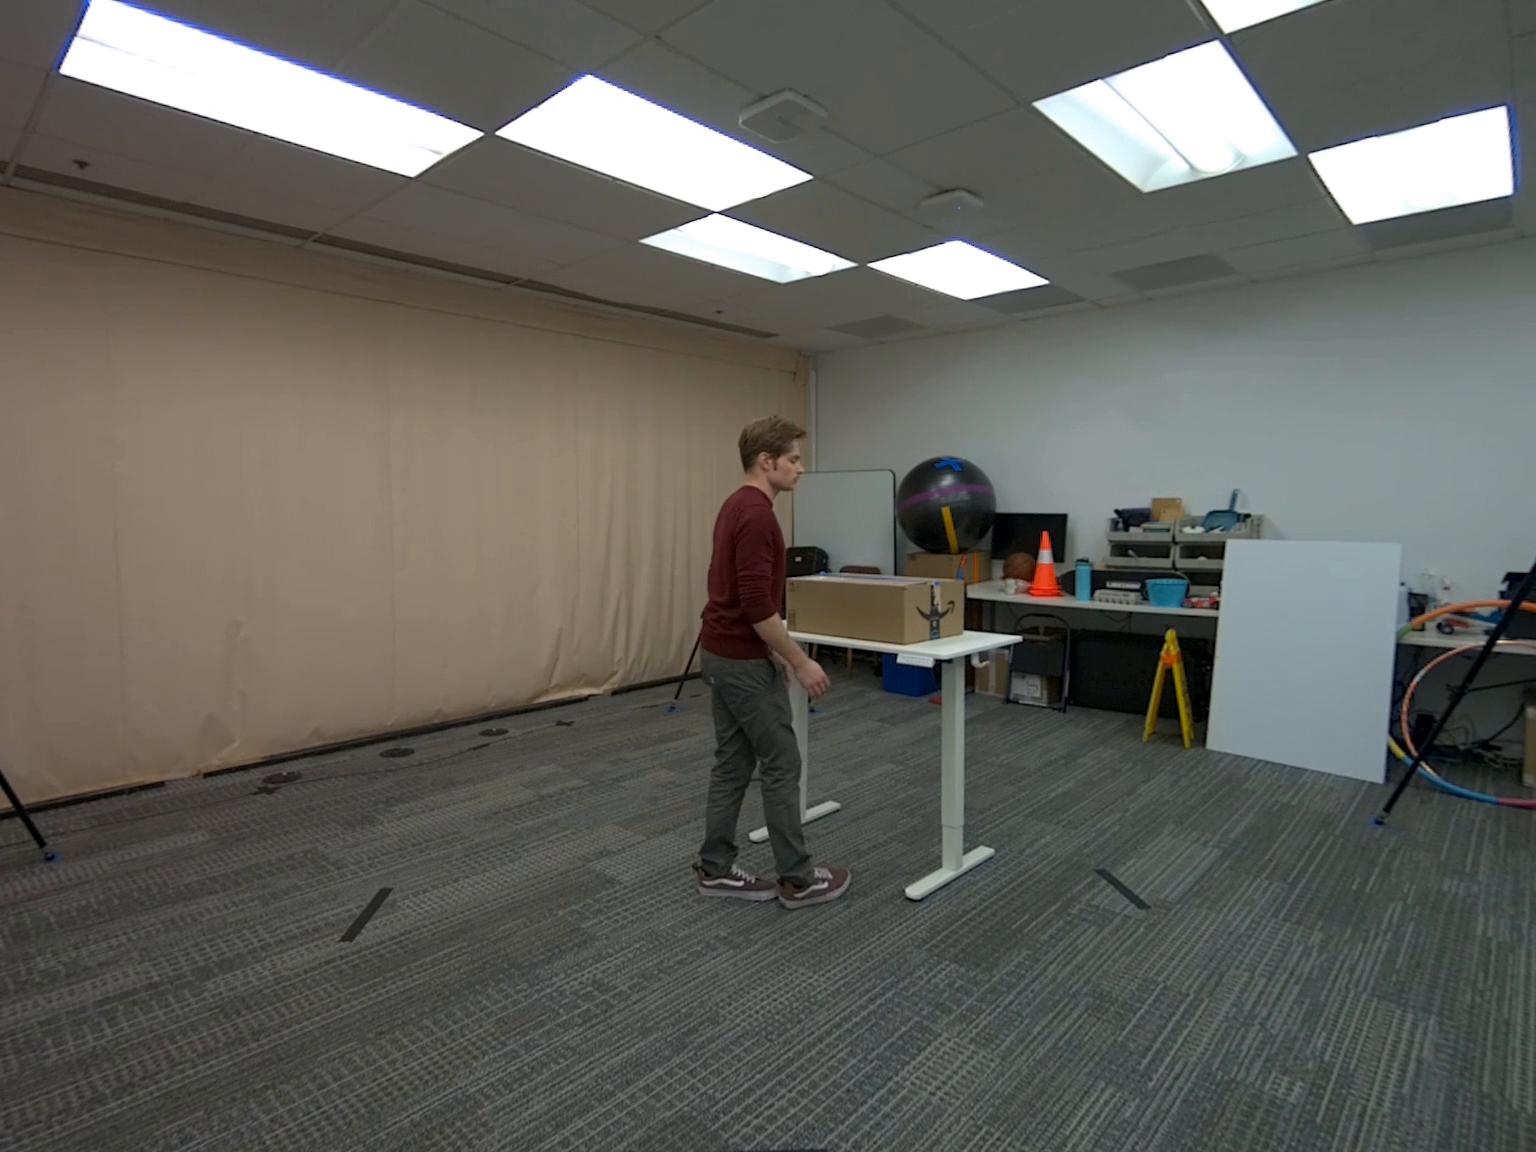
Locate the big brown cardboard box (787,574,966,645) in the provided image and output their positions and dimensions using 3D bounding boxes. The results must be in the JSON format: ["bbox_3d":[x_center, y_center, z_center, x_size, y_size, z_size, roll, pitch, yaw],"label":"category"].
[{"bbox_3d":[0.422,0.117,3.384,0.609,0.233,0.405,4,5,43],"label":"big brown cardboard box"}]
